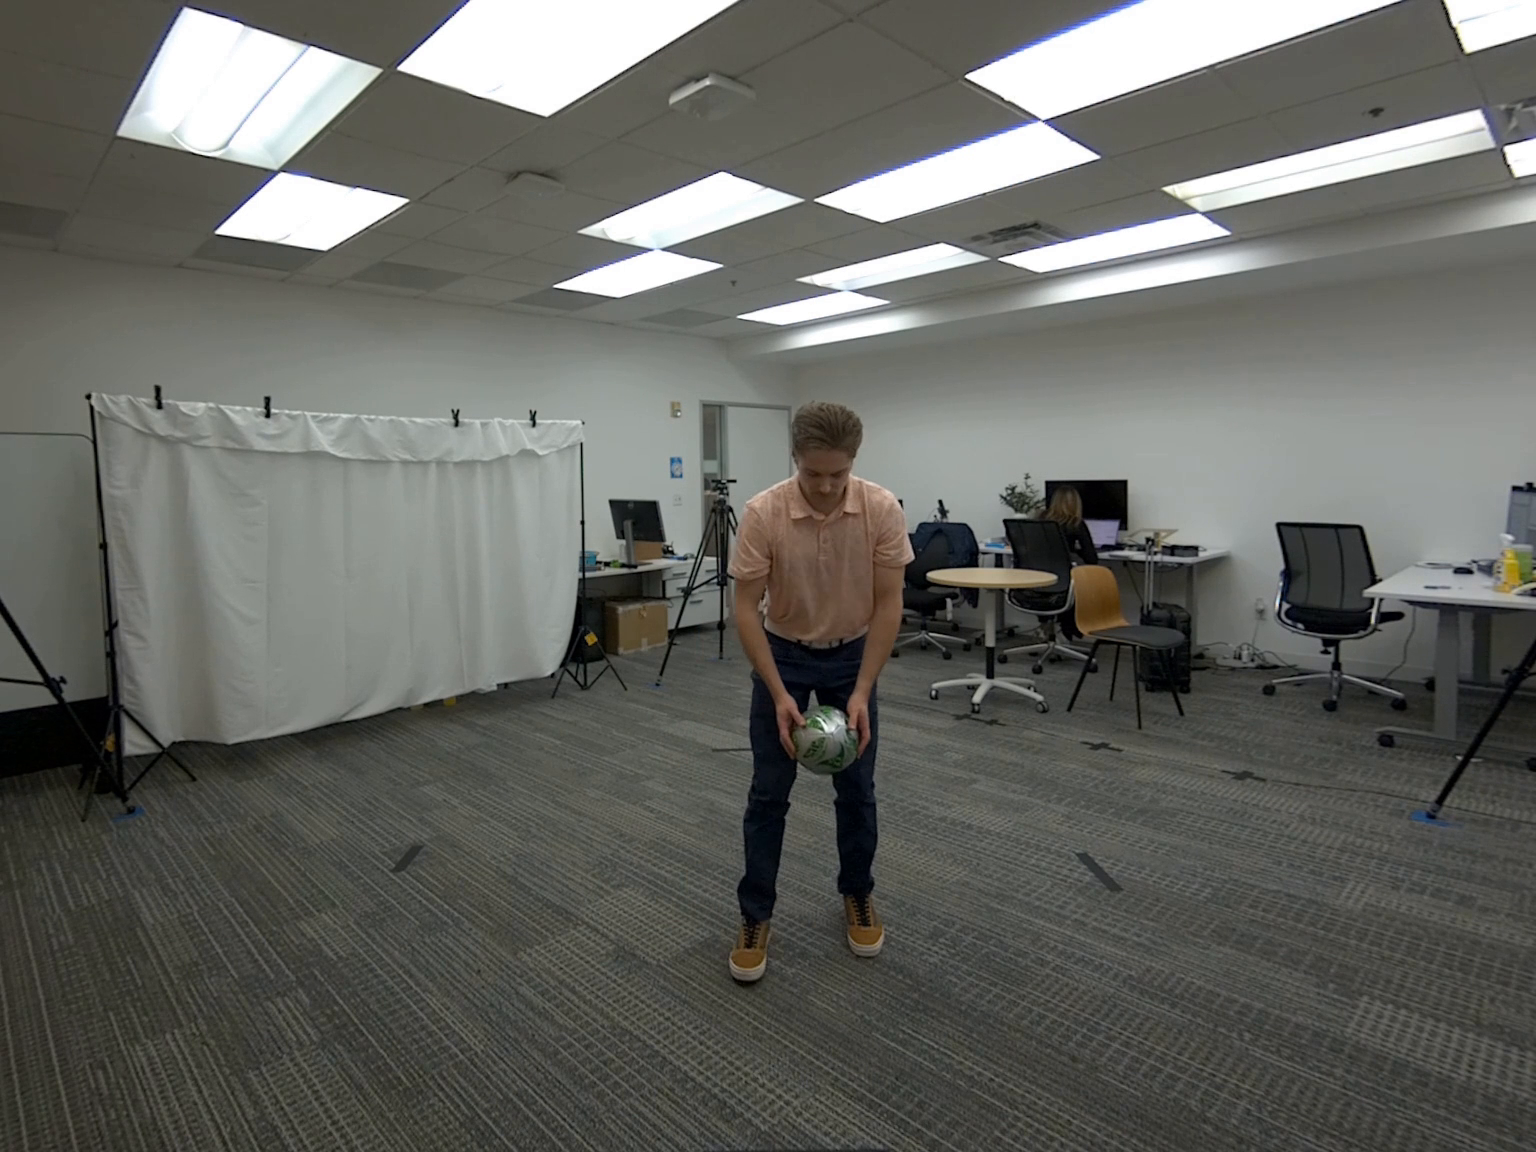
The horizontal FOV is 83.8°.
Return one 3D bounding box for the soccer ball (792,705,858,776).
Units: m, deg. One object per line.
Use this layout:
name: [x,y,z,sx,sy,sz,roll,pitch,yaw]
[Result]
soccer ball: [0.152,0.454,2.359,0.187,0.187,0.188,-1,5,-2]
